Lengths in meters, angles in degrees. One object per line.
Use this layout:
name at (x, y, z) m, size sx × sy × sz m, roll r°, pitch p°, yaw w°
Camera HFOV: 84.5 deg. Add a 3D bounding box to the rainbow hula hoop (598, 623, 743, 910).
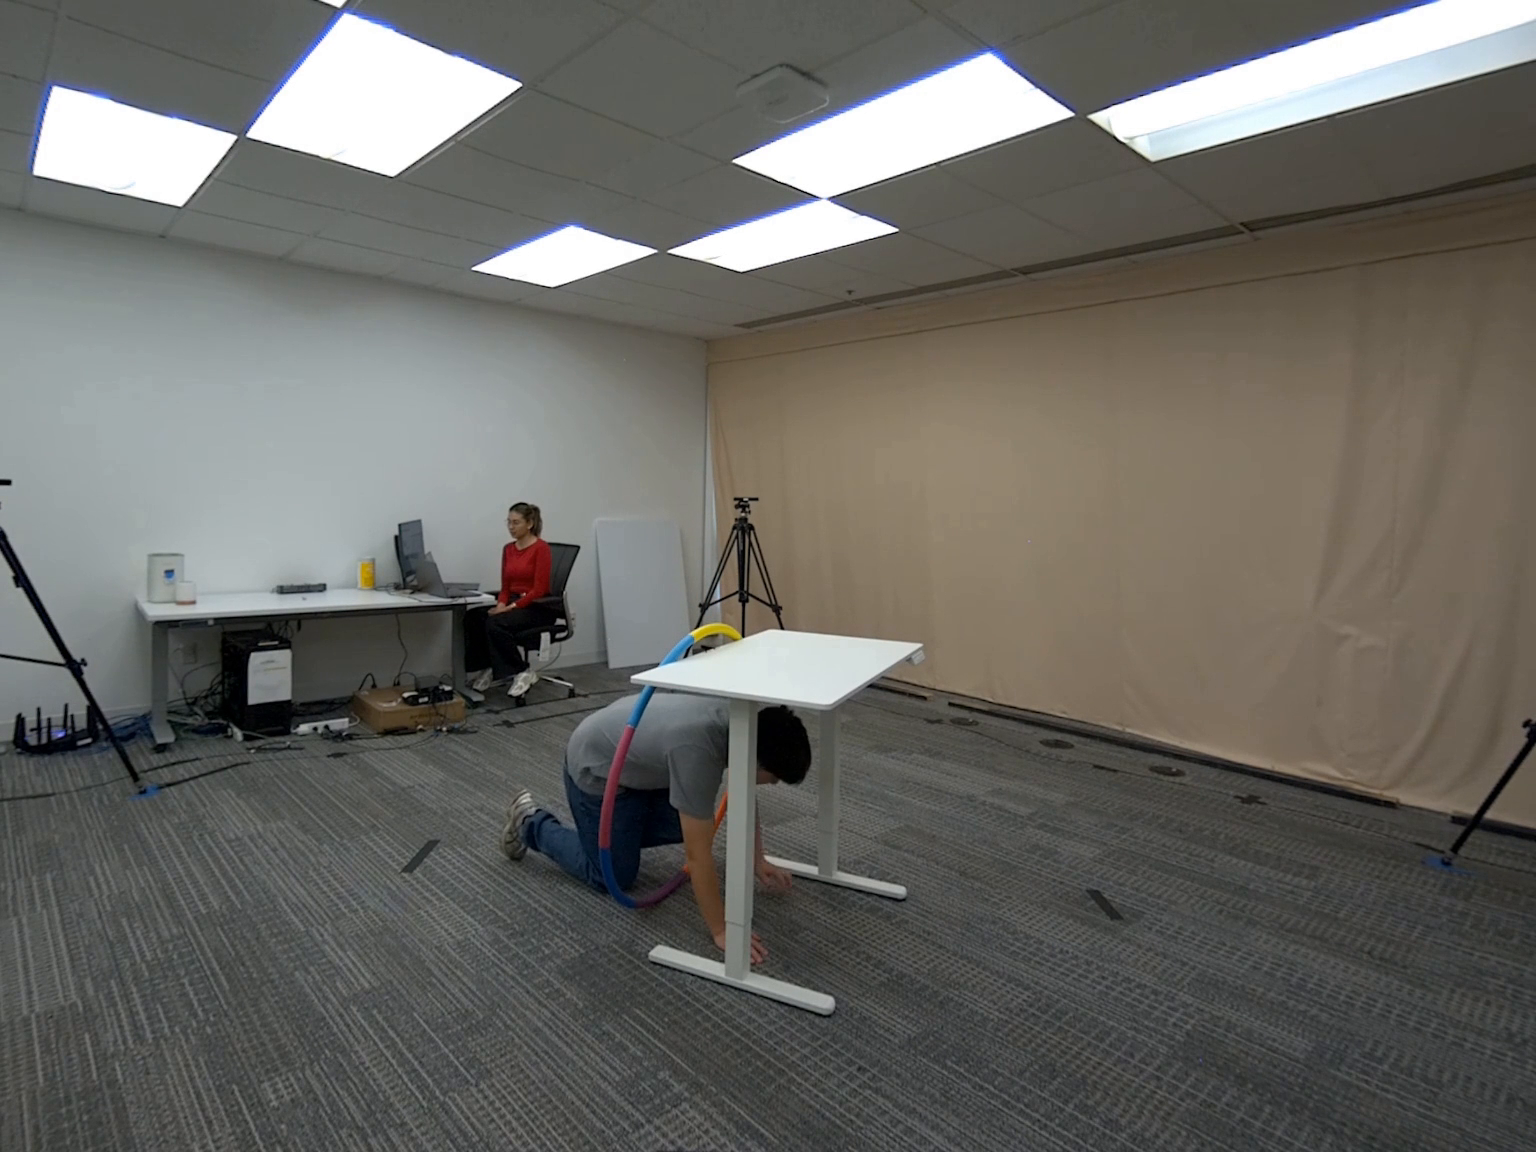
rainbow hula hoop at (-0.285, 0.641, 2.891) m, size 0.036 × 0.974 × 0.963 m, roll 13°, pitch 8°, yaw 21°
